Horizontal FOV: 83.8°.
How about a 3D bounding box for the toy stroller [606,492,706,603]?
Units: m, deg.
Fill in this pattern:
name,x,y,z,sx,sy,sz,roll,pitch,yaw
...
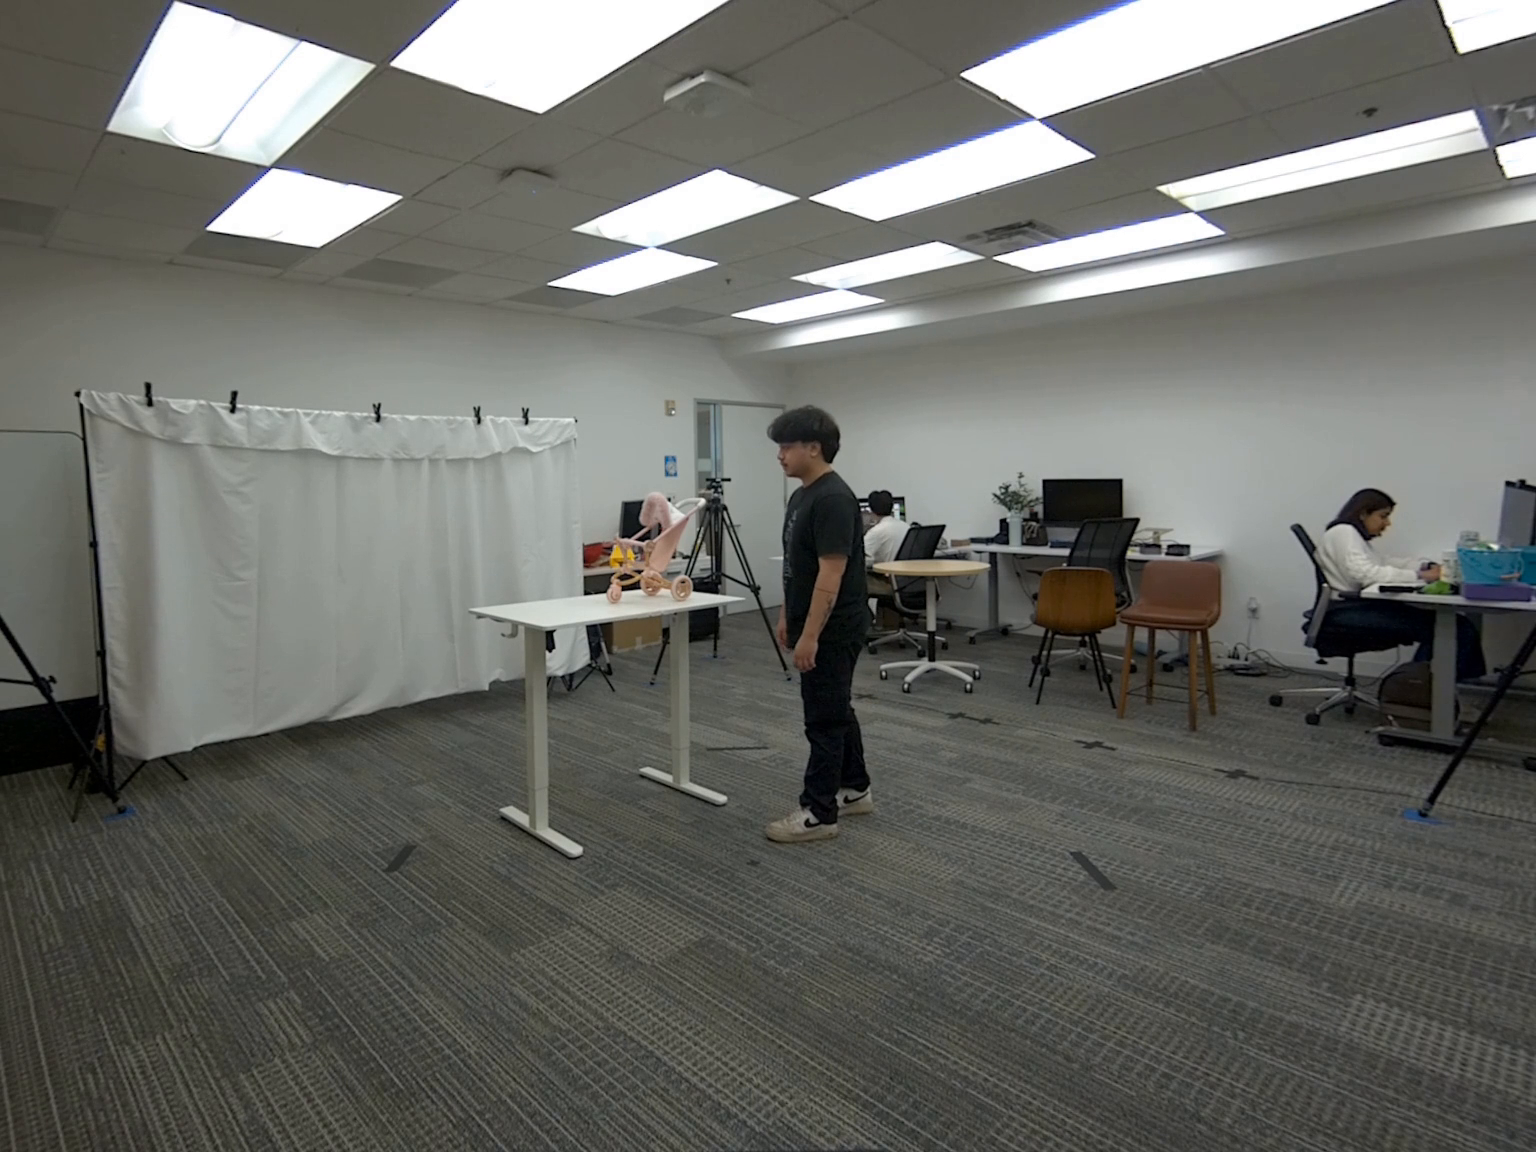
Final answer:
name,x,y,z,sx,sy,sz,roll,pitch,yaw
toy stroller,-0.501,-0.124,3.708,0.331,0.537,0.289,15,-5,-32
